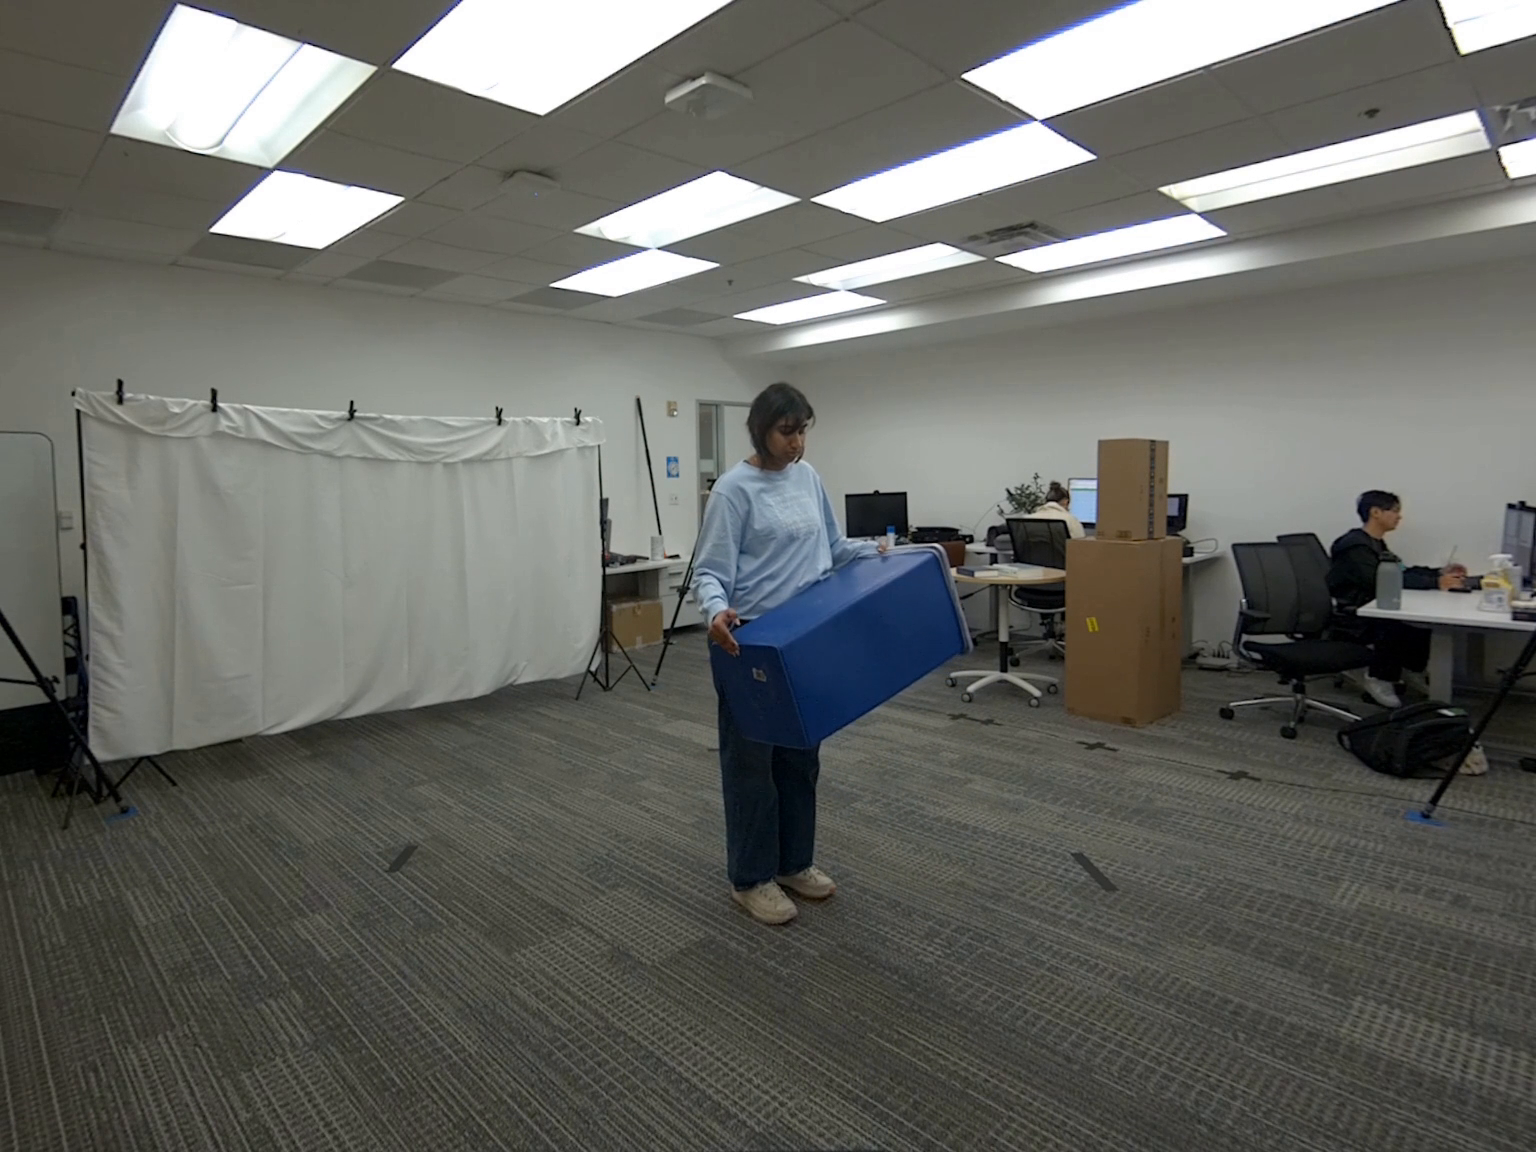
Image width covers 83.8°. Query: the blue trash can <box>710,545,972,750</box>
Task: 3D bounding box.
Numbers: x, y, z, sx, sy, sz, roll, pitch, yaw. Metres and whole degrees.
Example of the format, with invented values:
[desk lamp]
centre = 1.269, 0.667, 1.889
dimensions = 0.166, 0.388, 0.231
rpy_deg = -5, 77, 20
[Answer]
[blue trash can]
centre = 0.222, 0.204, 2.568
dimensions = 0.703, 0.370, 0.388
rpy_deg = -25, 13, -37
